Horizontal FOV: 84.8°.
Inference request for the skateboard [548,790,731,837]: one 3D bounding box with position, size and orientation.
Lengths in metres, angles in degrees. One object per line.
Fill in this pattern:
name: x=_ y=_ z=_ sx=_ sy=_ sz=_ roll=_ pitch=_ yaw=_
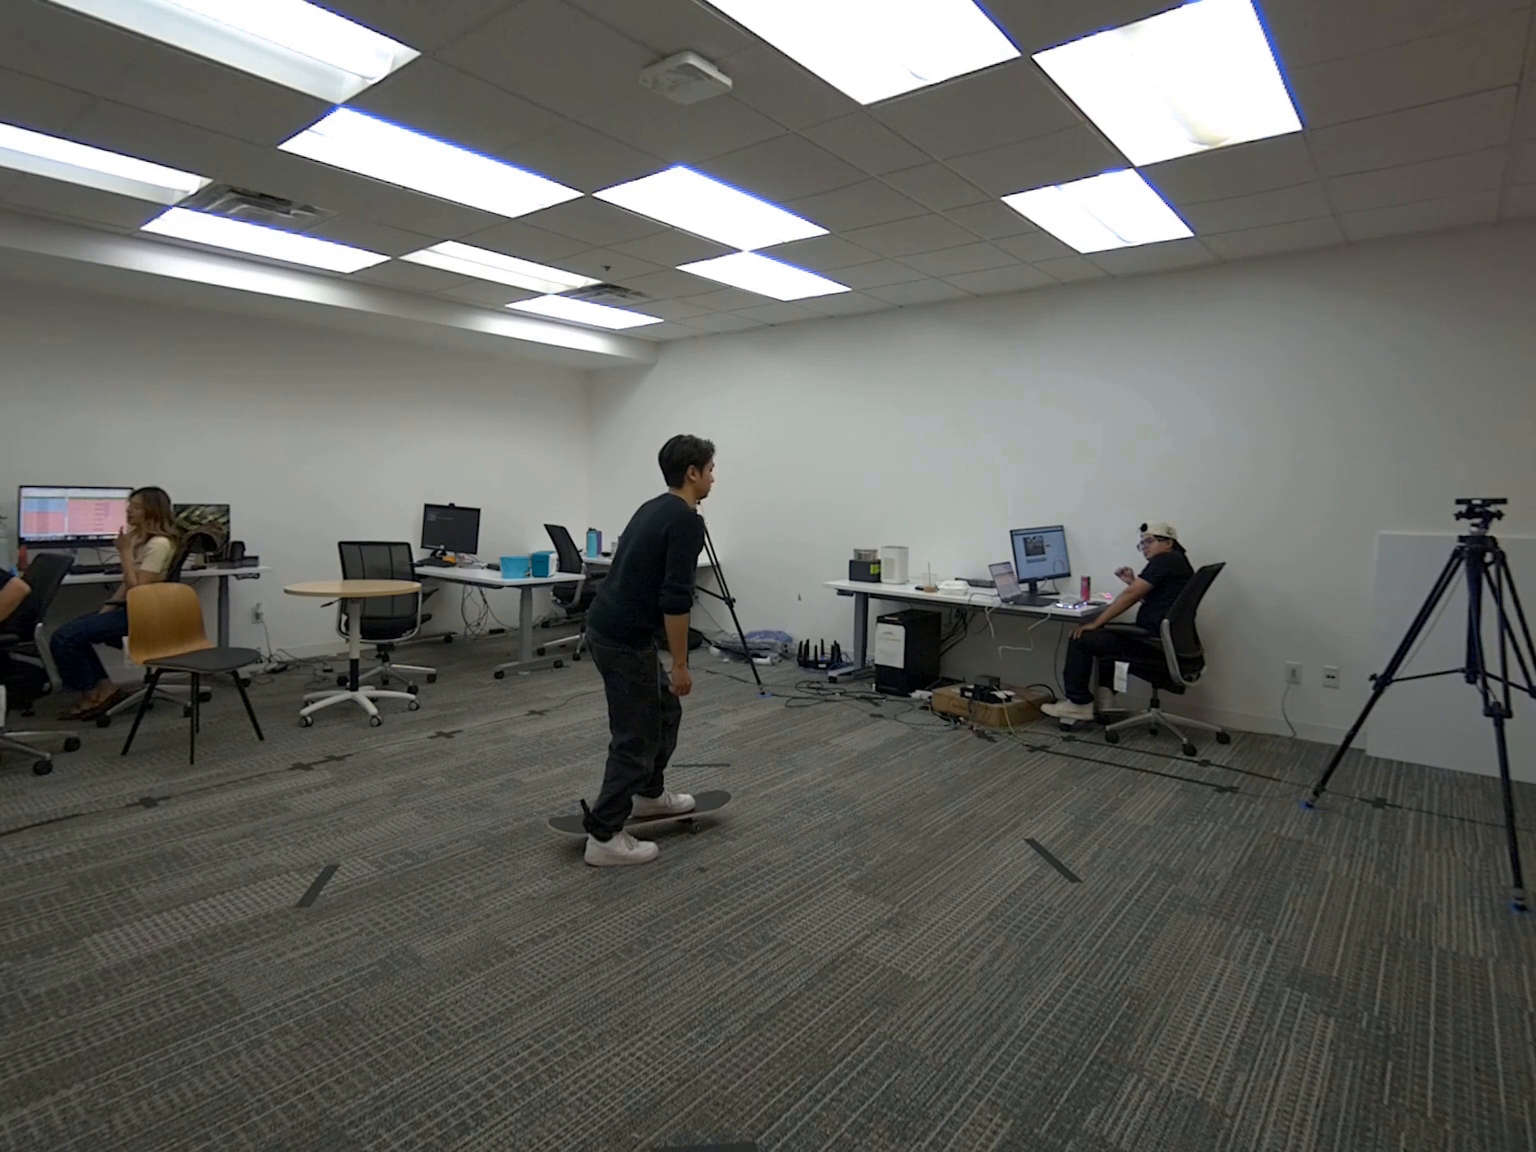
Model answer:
skateboard: x=-0.511 y=0.978 z=3.415 sx=0.765 sy=0.110 sz=0.199 roll=-3 pitch=5 yaw=-29
